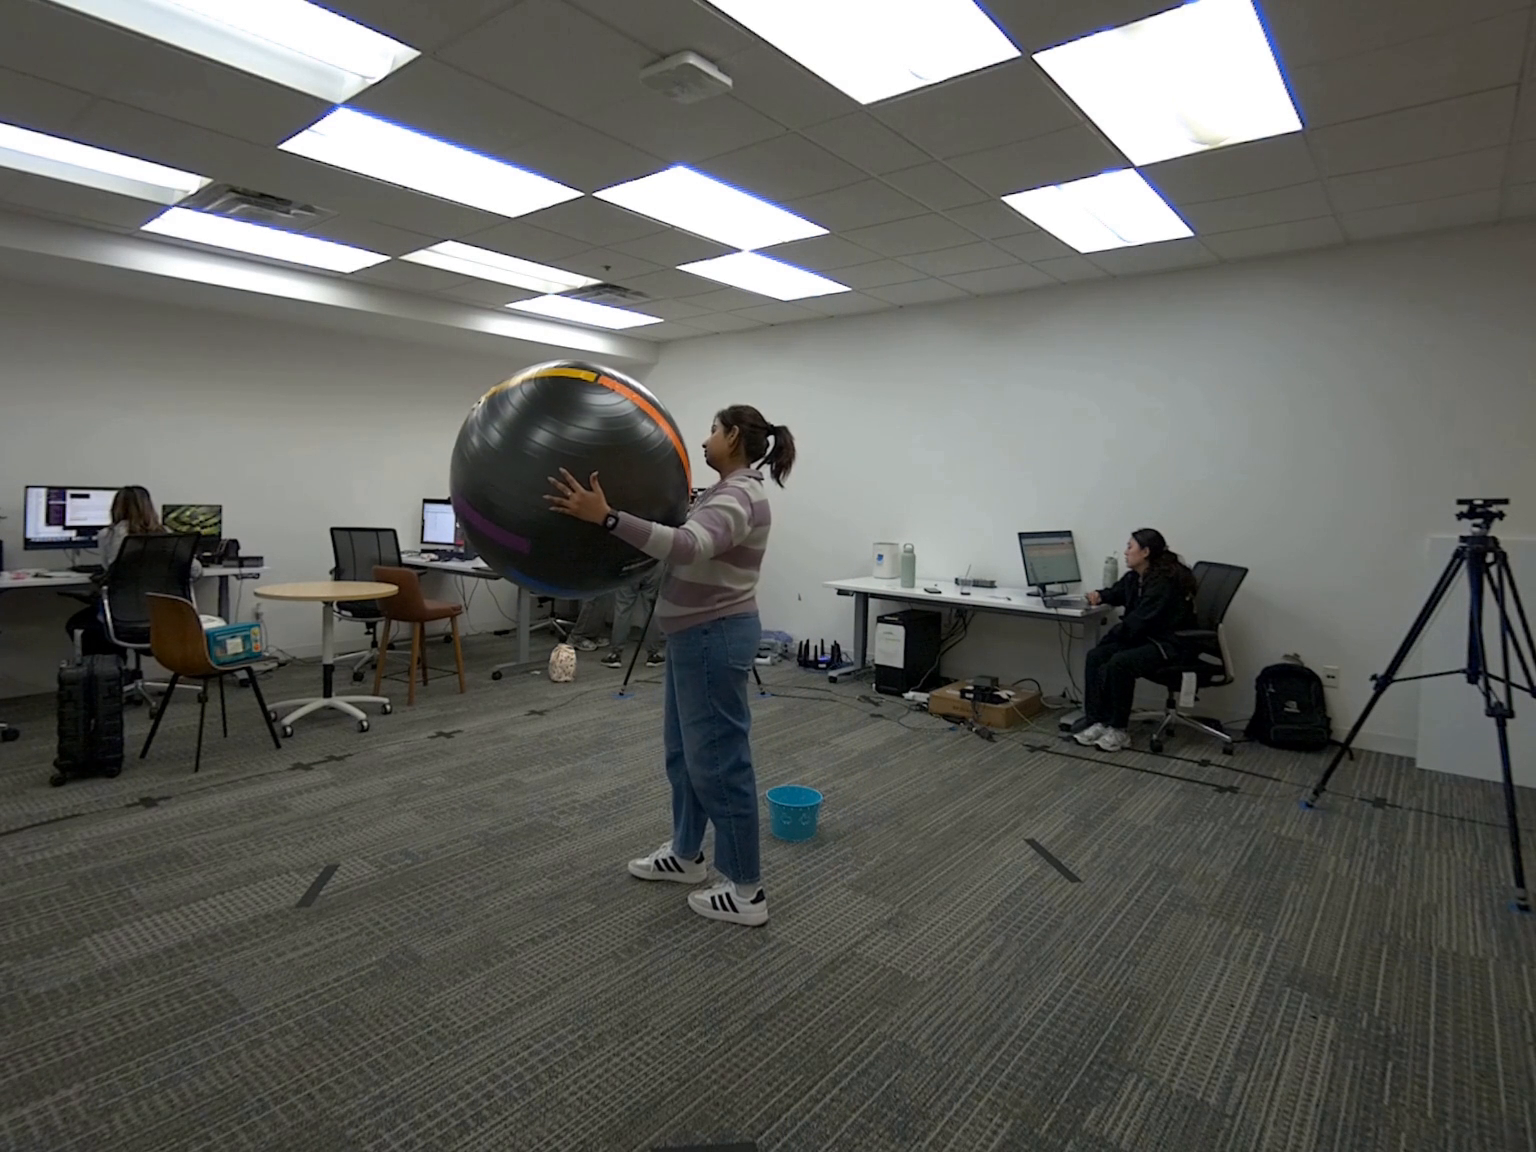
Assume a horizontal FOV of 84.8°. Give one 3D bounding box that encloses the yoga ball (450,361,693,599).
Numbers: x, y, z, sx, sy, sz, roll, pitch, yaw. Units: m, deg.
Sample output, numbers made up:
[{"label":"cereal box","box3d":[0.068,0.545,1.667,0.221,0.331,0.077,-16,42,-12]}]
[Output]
[{"label":"yoga ball","box3d":[-0.646,-0.297,2.723,0.757,0.756,0.761,1,4,-2]}]
